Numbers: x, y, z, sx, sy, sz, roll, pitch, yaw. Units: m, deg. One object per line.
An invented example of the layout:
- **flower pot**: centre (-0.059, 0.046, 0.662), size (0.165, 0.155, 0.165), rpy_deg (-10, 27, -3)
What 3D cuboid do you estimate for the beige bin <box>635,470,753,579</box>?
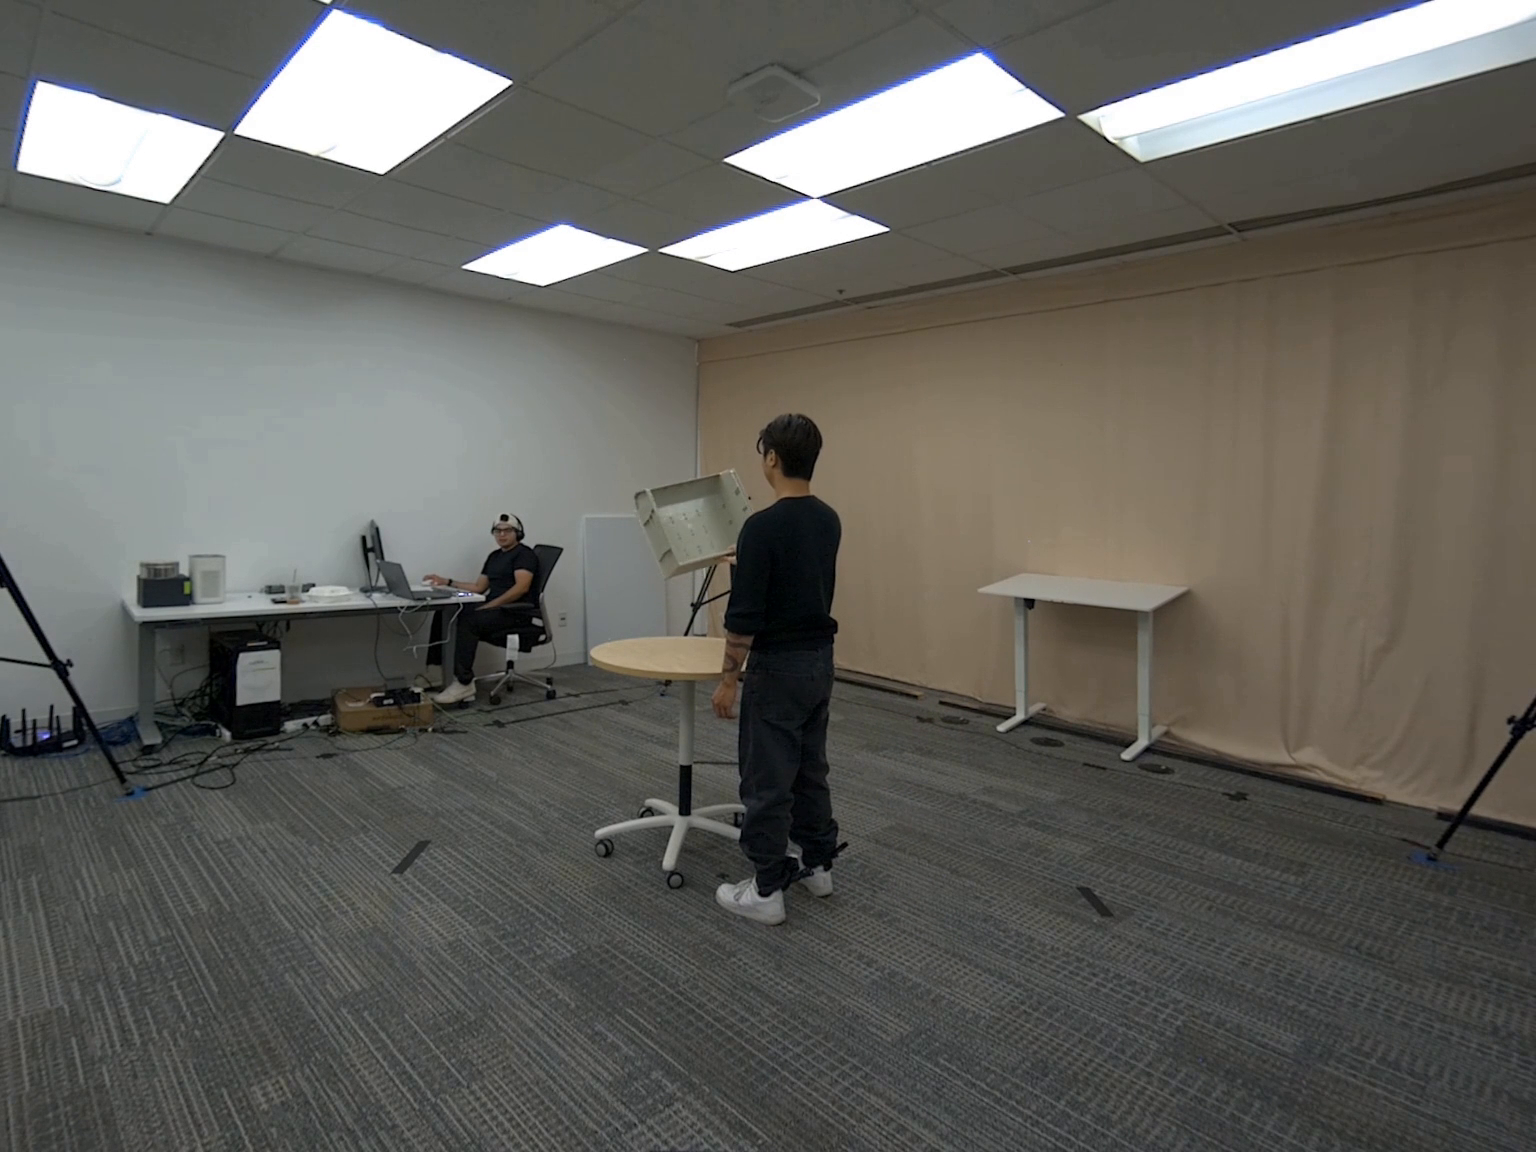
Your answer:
- **beige bin**: centre (-0.292, -0.219, 3.416), size (0.416, 0.382, 0.189), rpy_deg (-17, -13, -33)
